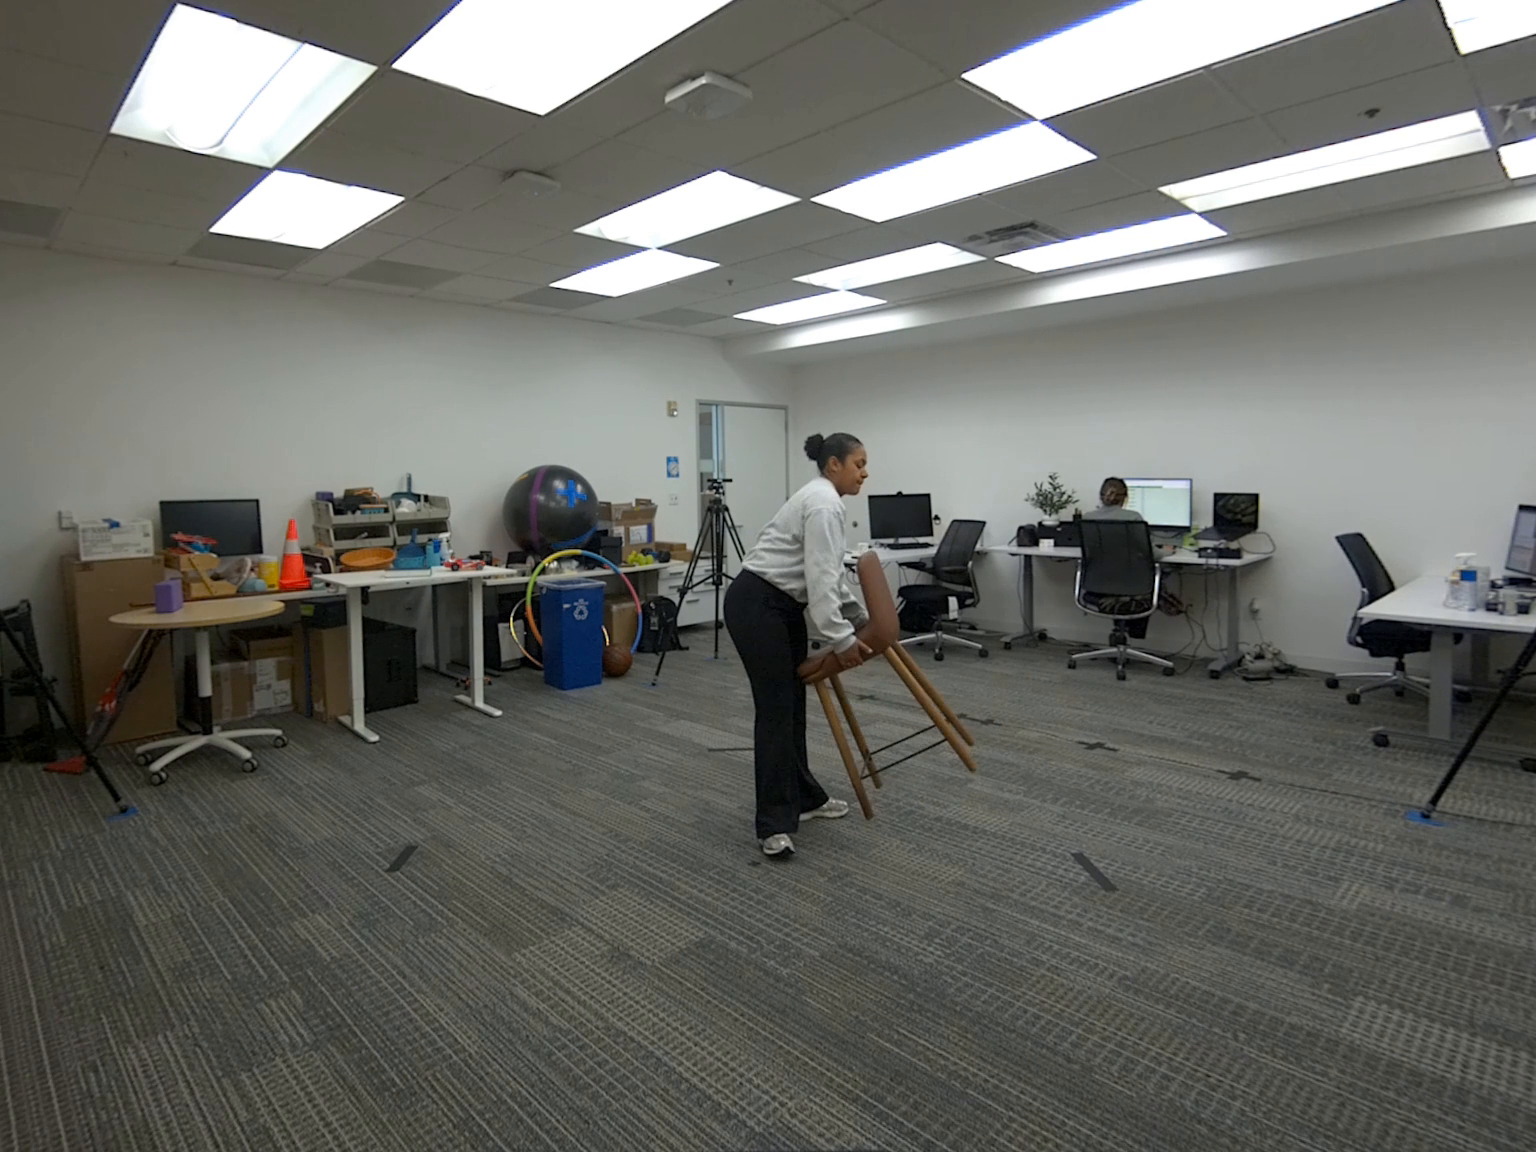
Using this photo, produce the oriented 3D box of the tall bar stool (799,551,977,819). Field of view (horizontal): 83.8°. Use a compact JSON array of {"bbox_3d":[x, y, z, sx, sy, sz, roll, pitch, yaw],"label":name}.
[{"bbox_3d":[0.394,0.403,3.341,0.470,0.896,0.451,-28,-5,13],"label":"tall bar stool"}]
